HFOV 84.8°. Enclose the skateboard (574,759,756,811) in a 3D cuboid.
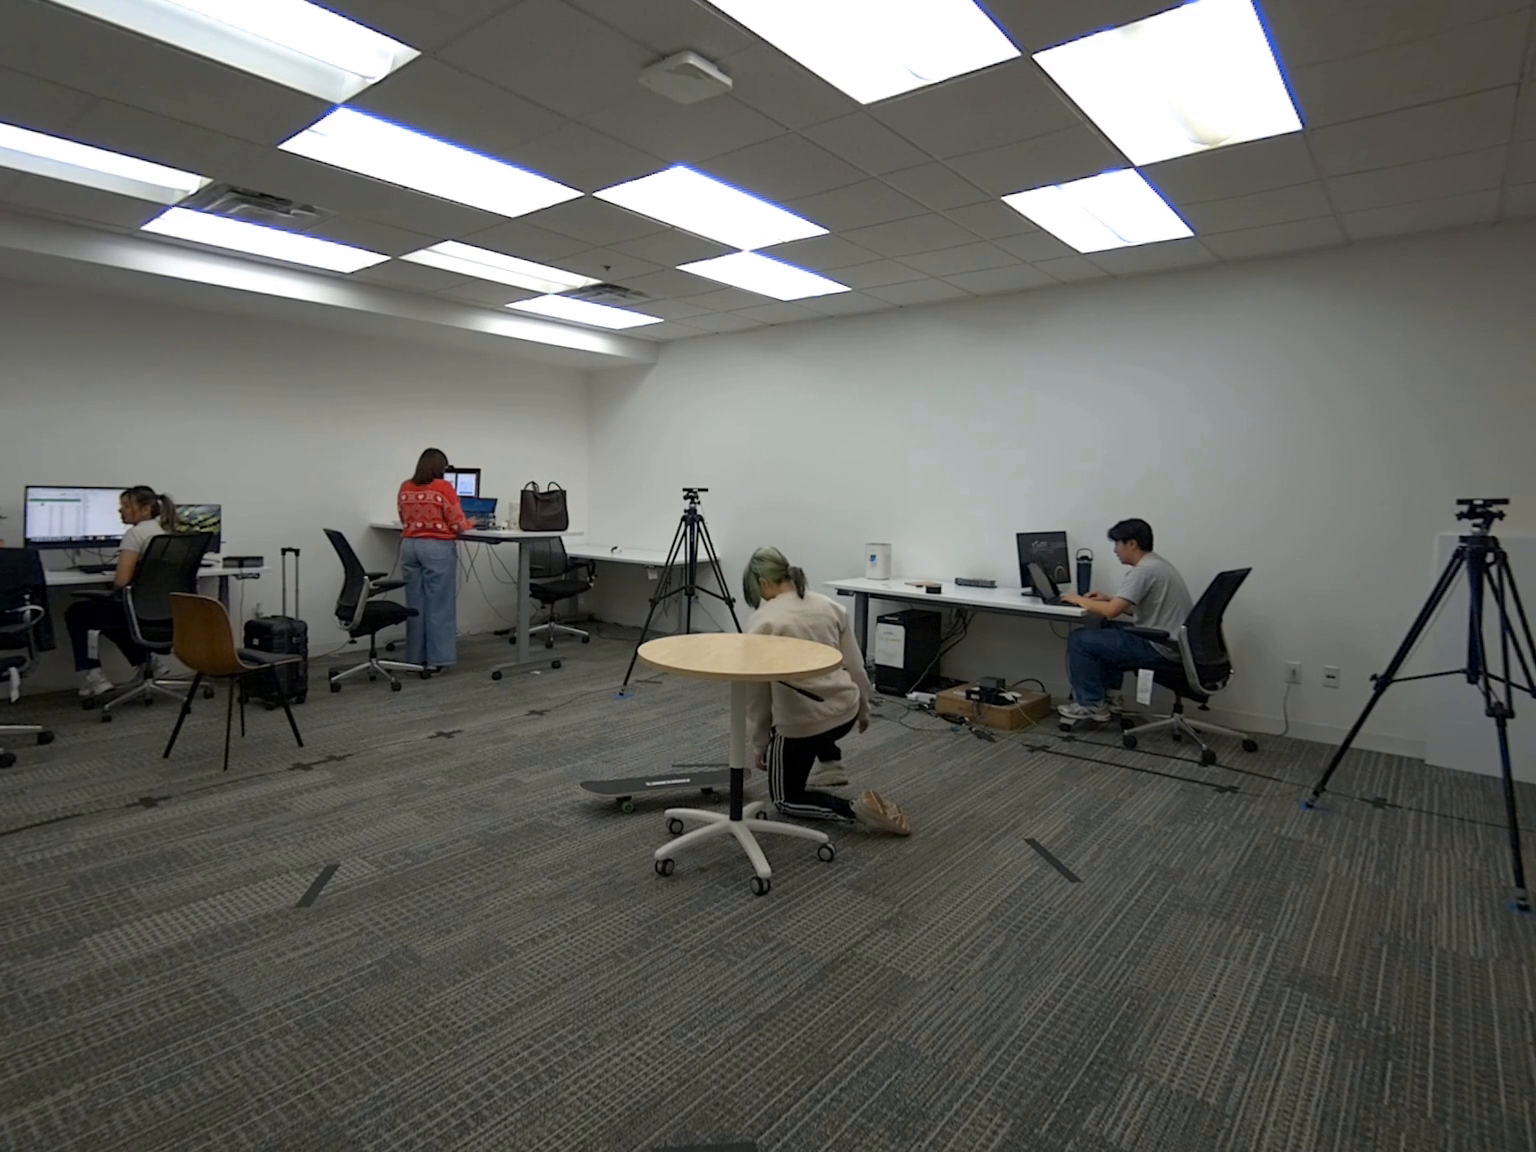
[{"bbox_3d":[-0.459,0.928,3.770,0.770,0.110,0.198,0,3,-19],"label":"skateboard"}]
